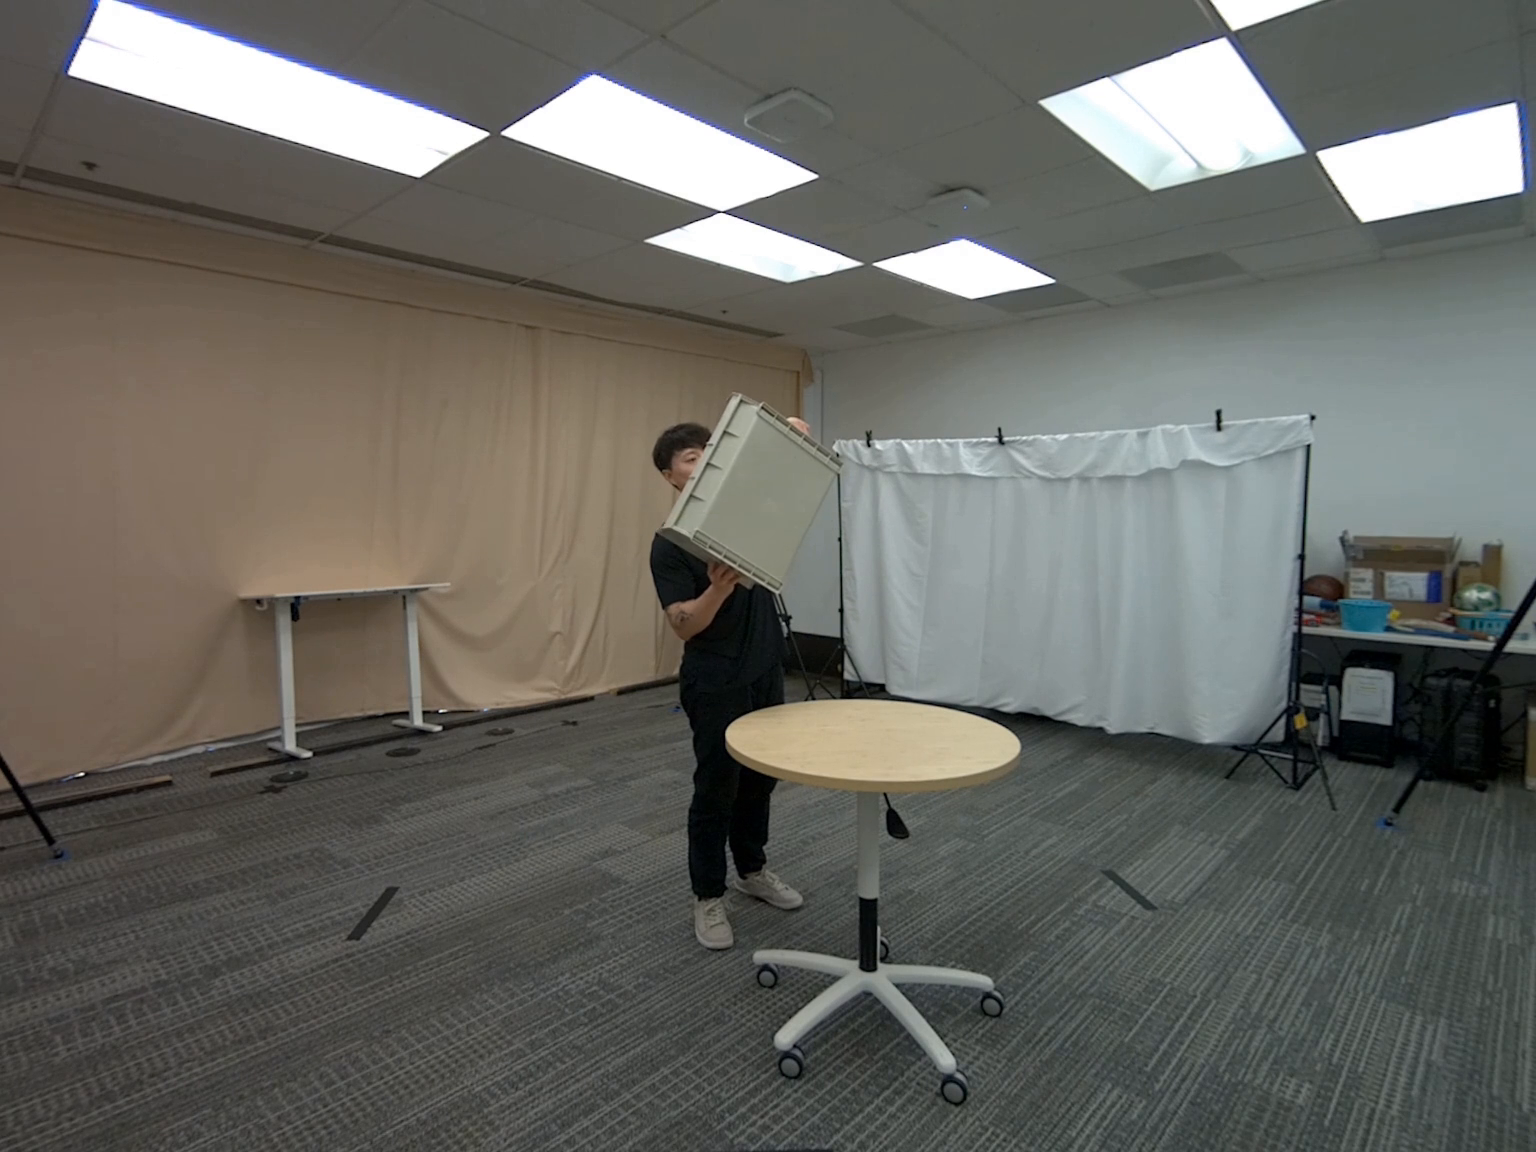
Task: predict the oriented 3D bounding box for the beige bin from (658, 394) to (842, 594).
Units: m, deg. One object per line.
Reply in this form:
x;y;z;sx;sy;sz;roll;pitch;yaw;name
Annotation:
-0.049;-0.222;2.318;0.366;0.422;0.195;32;-10;-28;beige bin
